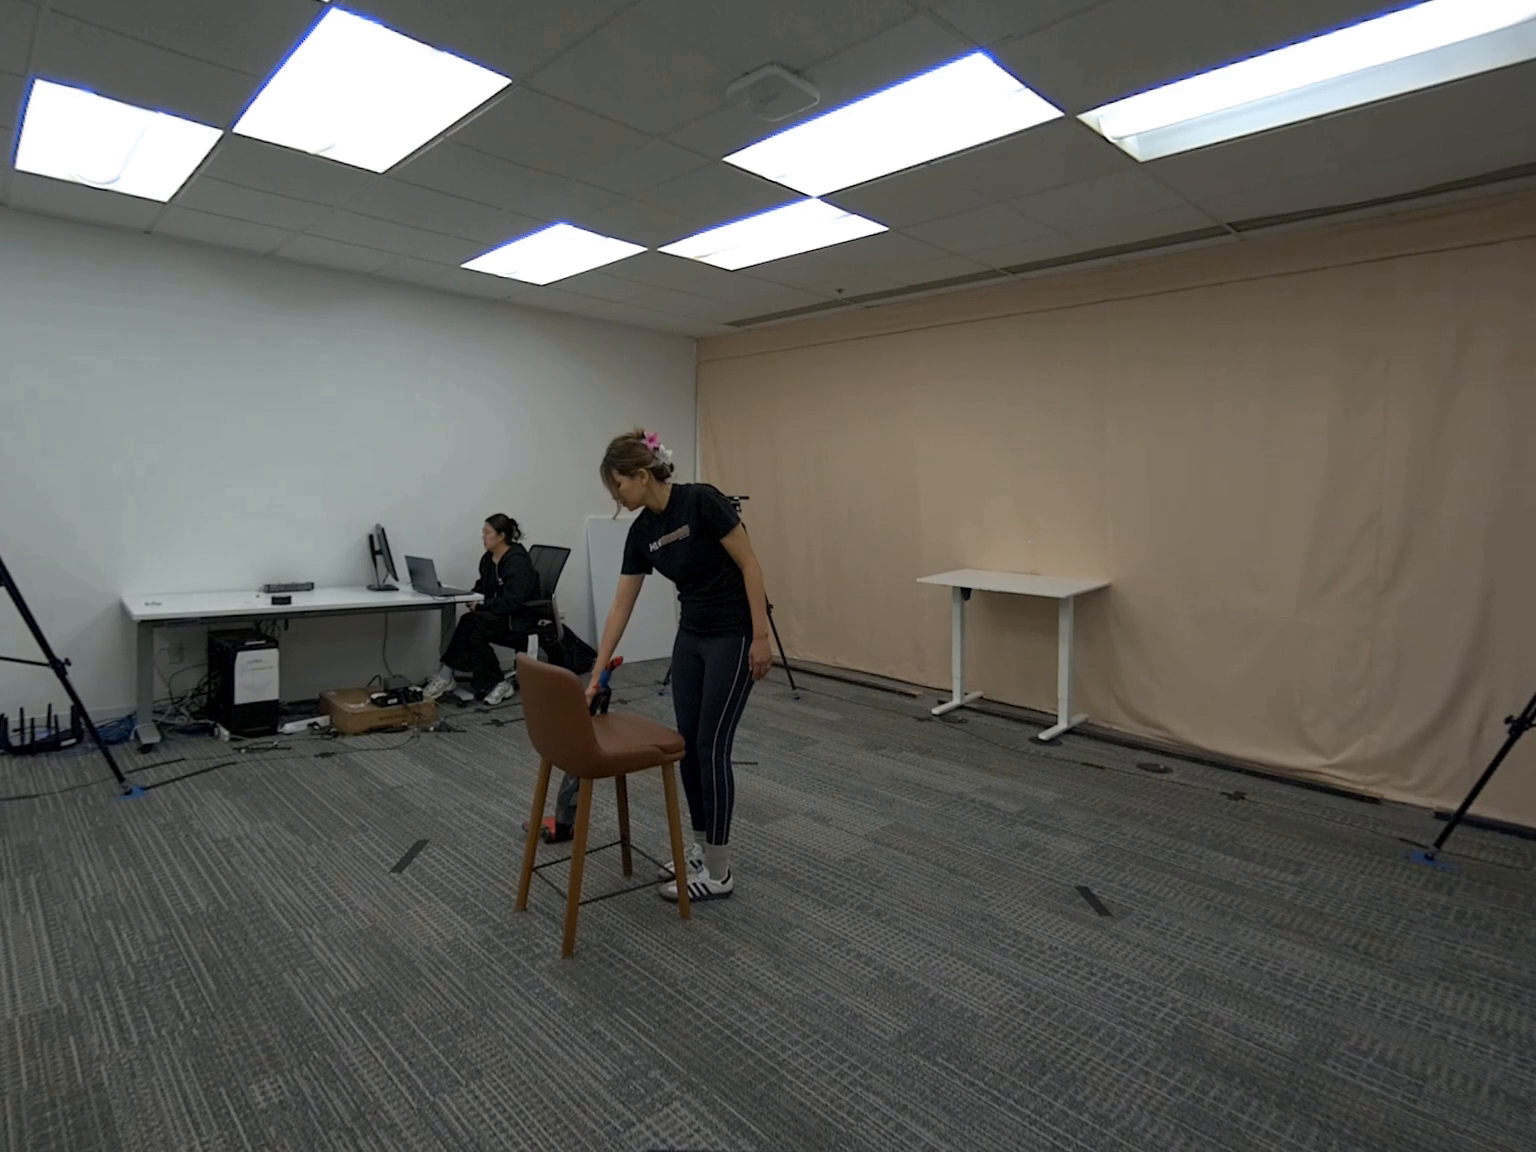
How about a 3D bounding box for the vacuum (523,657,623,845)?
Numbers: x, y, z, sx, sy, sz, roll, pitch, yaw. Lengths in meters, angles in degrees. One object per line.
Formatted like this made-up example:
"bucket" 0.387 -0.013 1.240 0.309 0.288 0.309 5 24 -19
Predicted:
"vacuum" -0.698 0.664 3.134 0.247 1.038 0.148 -5 45 -34
